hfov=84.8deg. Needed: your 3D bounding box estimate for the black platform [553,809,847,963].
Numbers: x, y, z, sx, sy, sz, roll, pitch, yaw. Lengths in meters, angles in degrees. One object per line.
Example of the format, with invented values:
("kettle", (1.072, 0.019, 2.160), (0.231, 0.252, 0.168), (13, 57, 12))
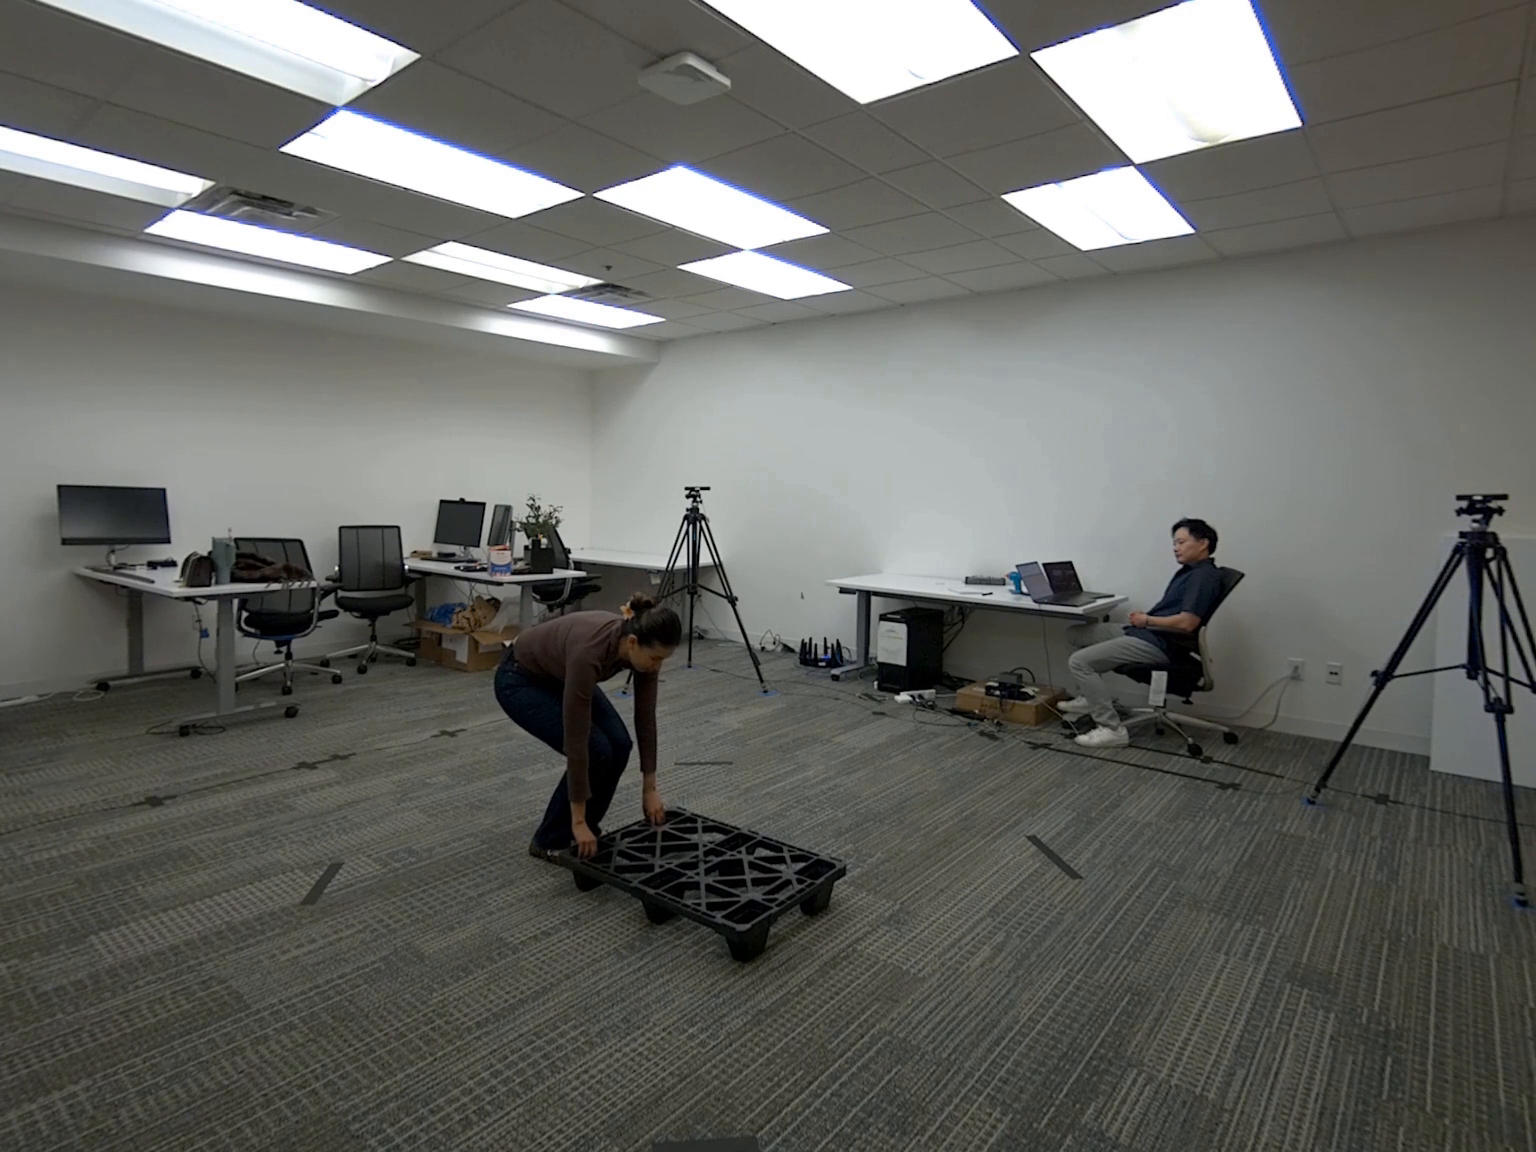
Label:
("black platform", (-0.237, 1.021, 2.891), (0.832, 0.143, 0.587), (5, 6, 37))
